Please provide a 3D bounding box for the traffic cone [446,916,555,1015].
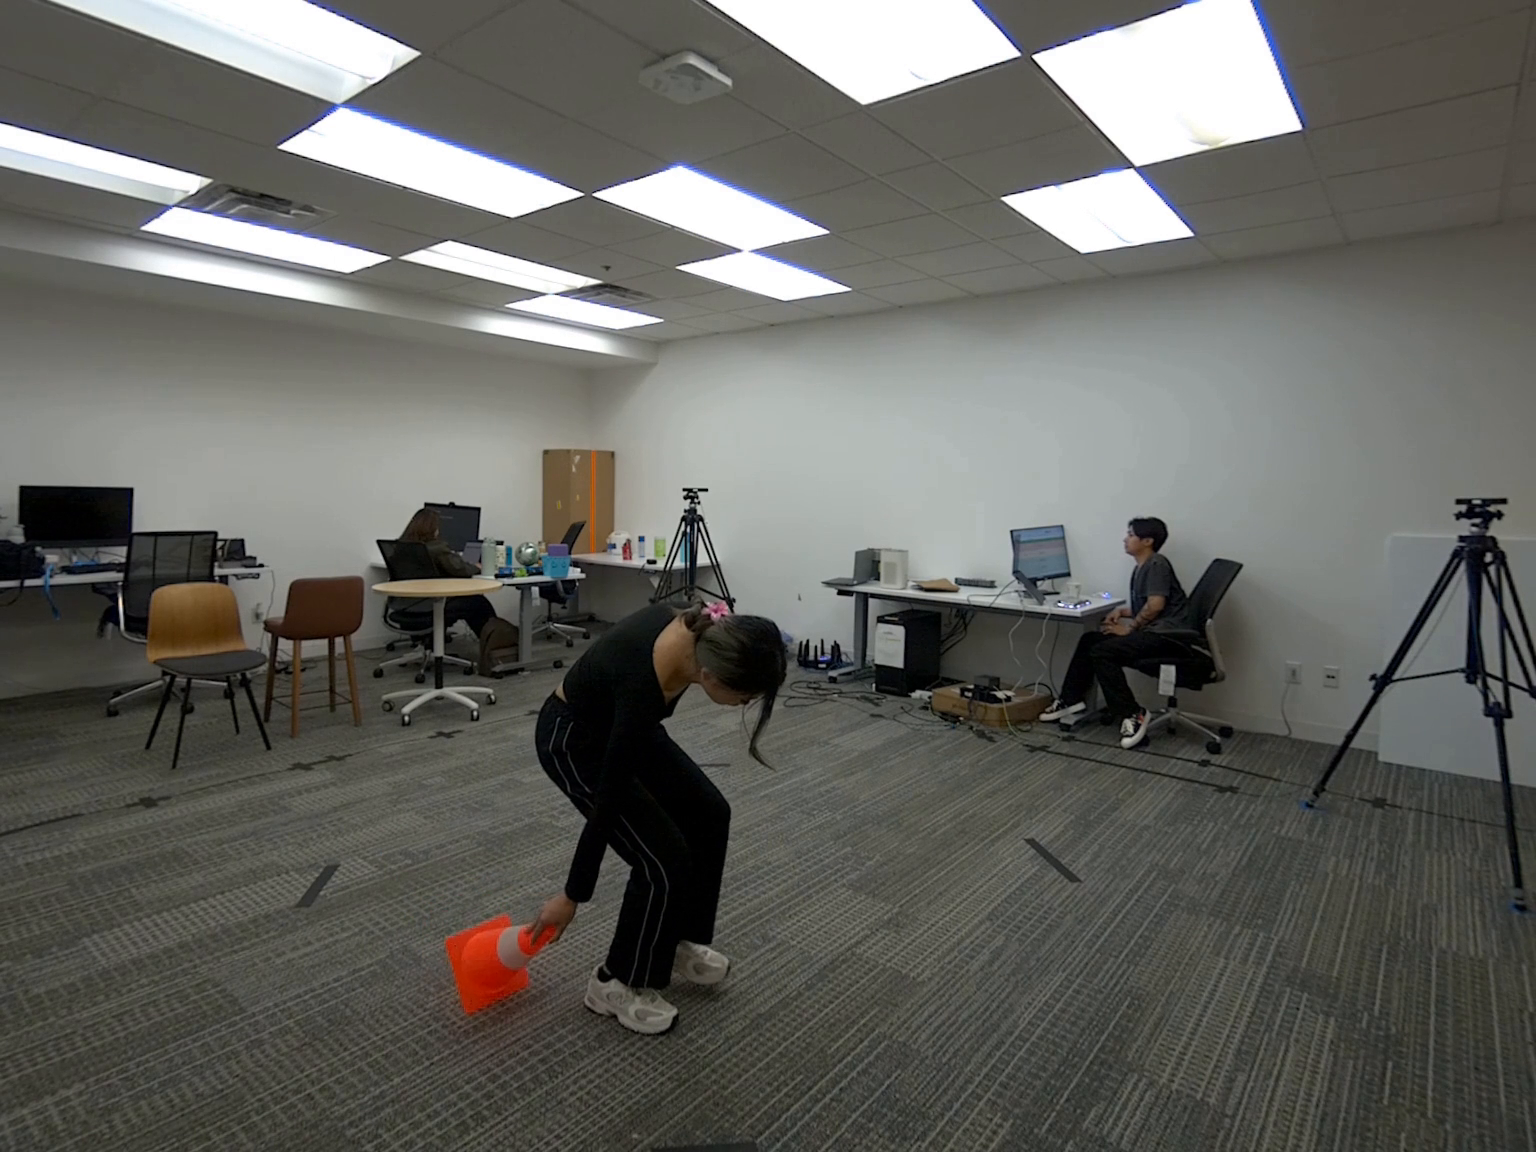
[{"bbox_3d":[-0.663,0.965,2.214,0.199,0.209,0.385,-4,-29,-46],"label":"traffic cone"}]
